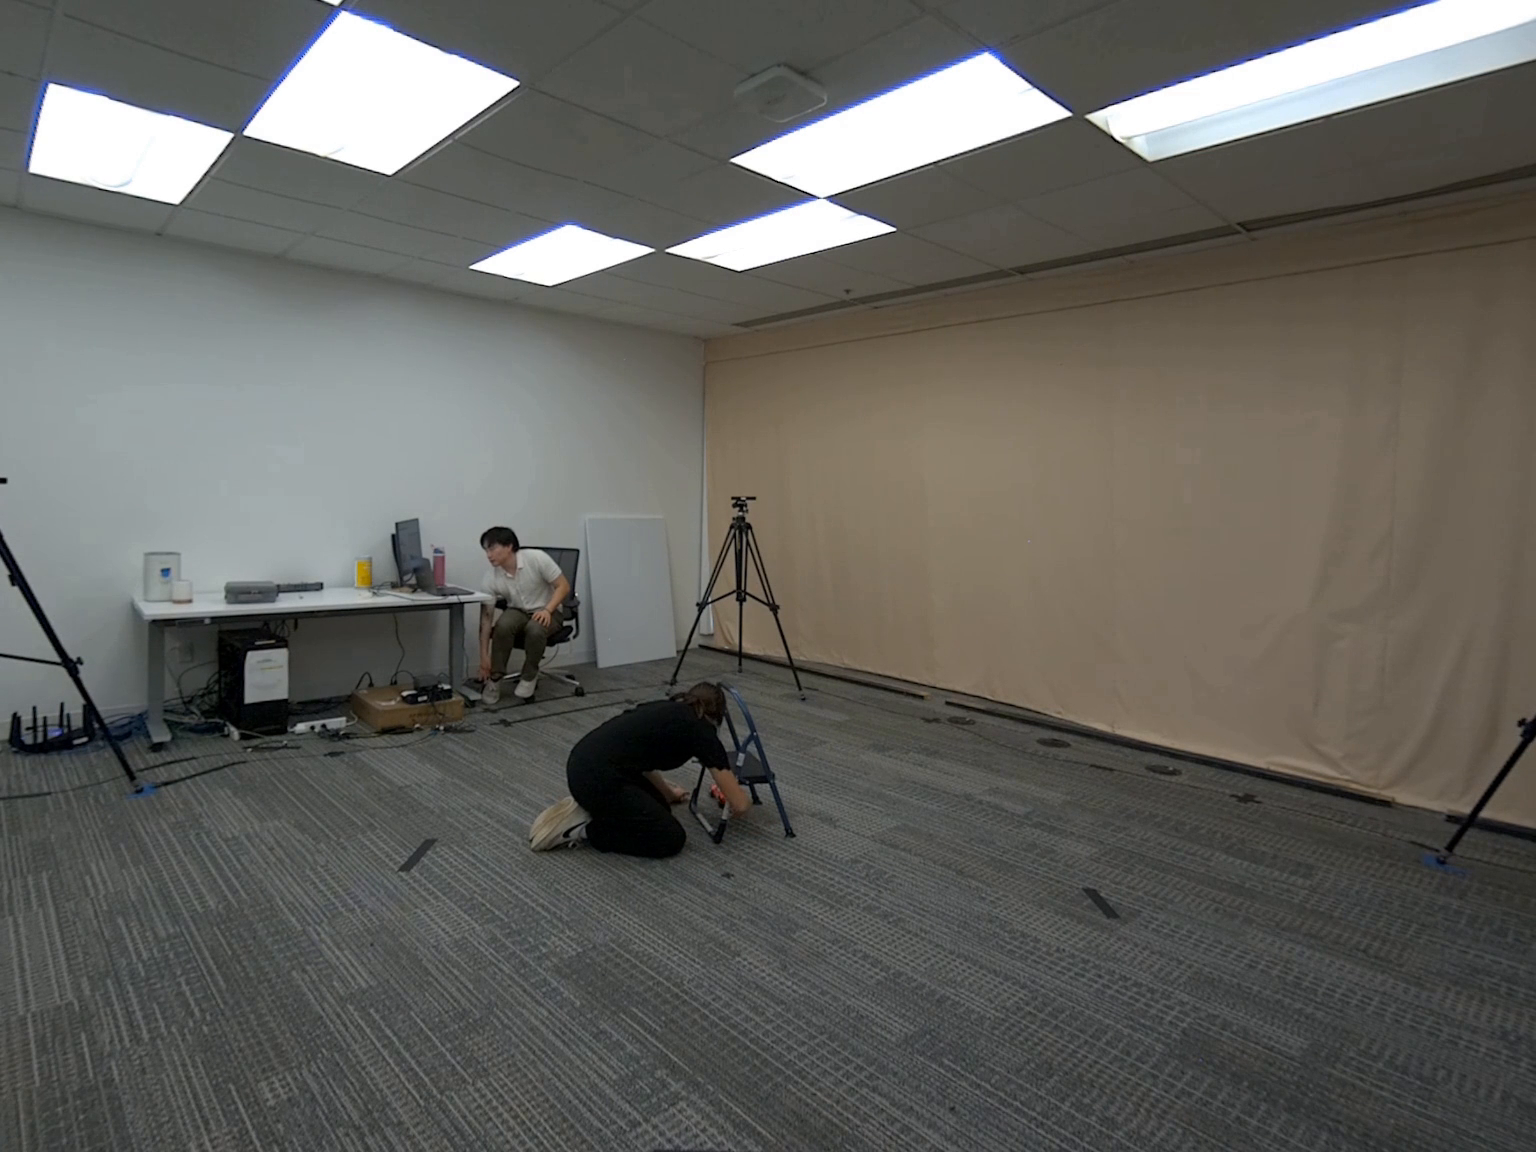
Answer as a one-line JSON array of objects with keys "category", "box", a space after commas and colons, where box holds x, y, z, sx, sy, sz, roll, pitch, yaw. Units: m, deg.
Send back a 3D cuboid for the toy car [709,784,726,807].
[{"category": "toy car", "box": [-0.190, 1.012, 3.859, 0.128, 0.083, 0.257, 2, -6, -20]}]
